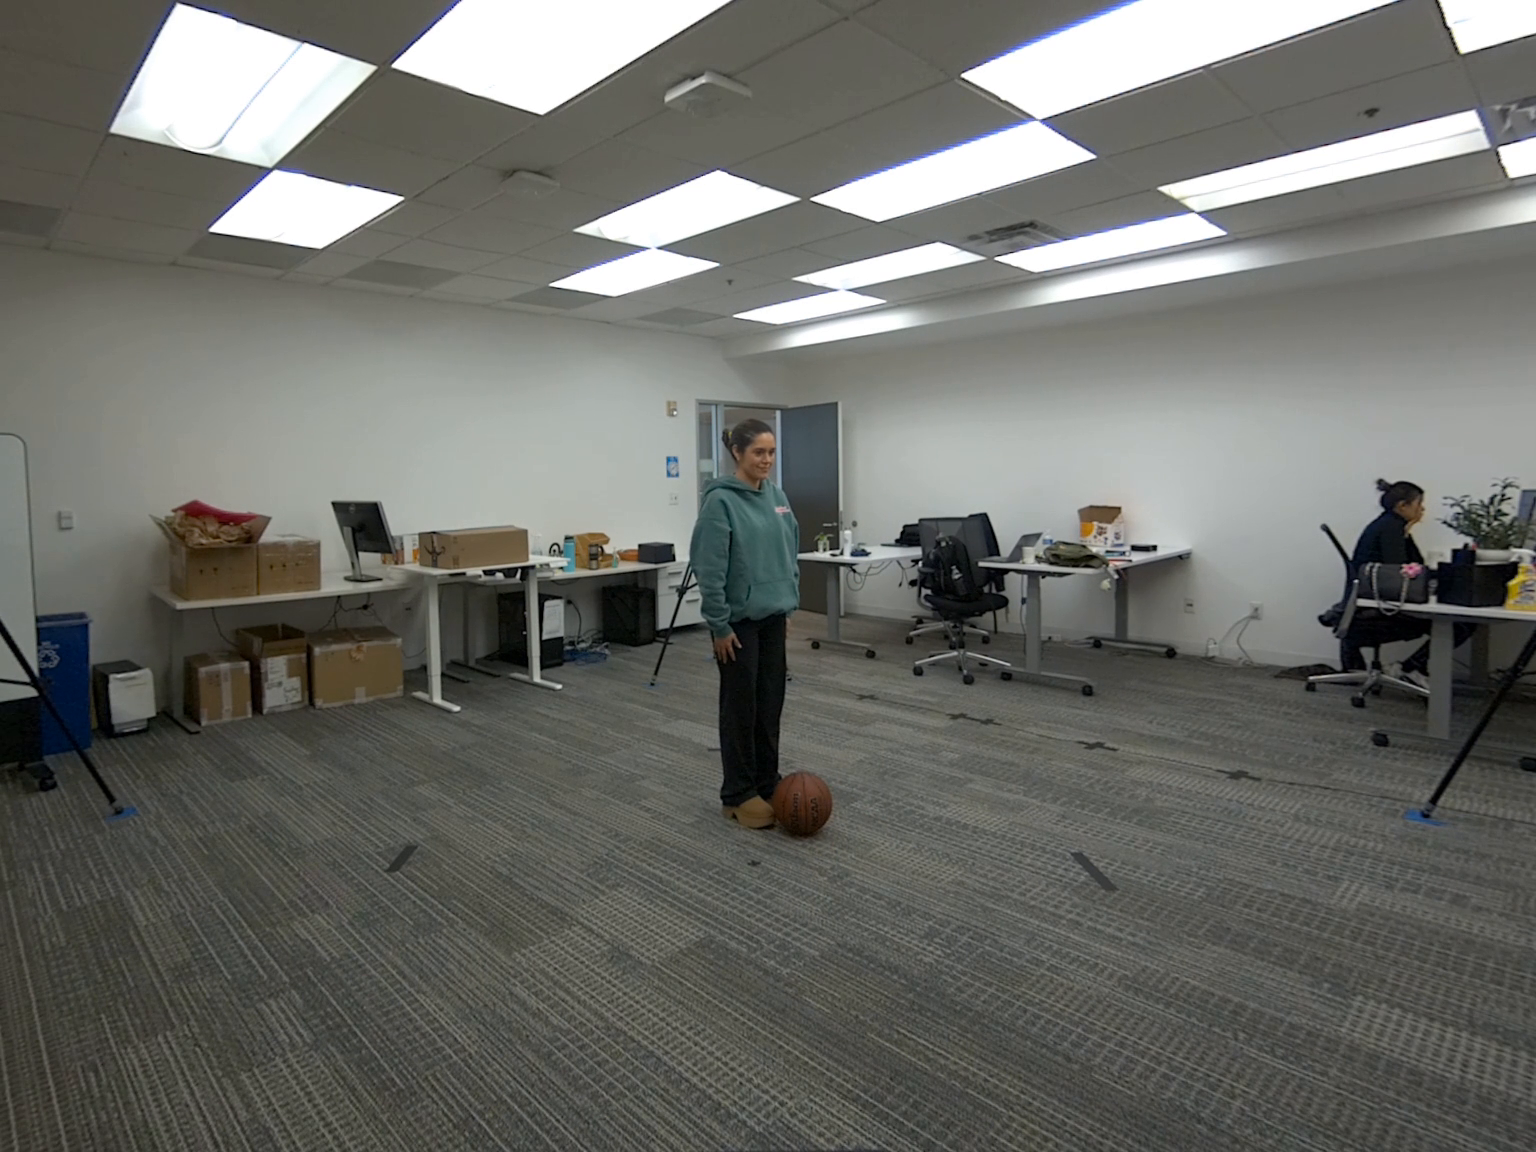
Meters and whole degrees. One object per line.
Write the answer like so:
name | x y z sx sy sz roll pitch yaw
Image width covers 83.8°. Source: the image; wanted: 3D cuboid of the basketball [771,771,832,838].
basketball | 0.136 0.892 3.373 0.236 0.235 0.237 -1 5 -2
